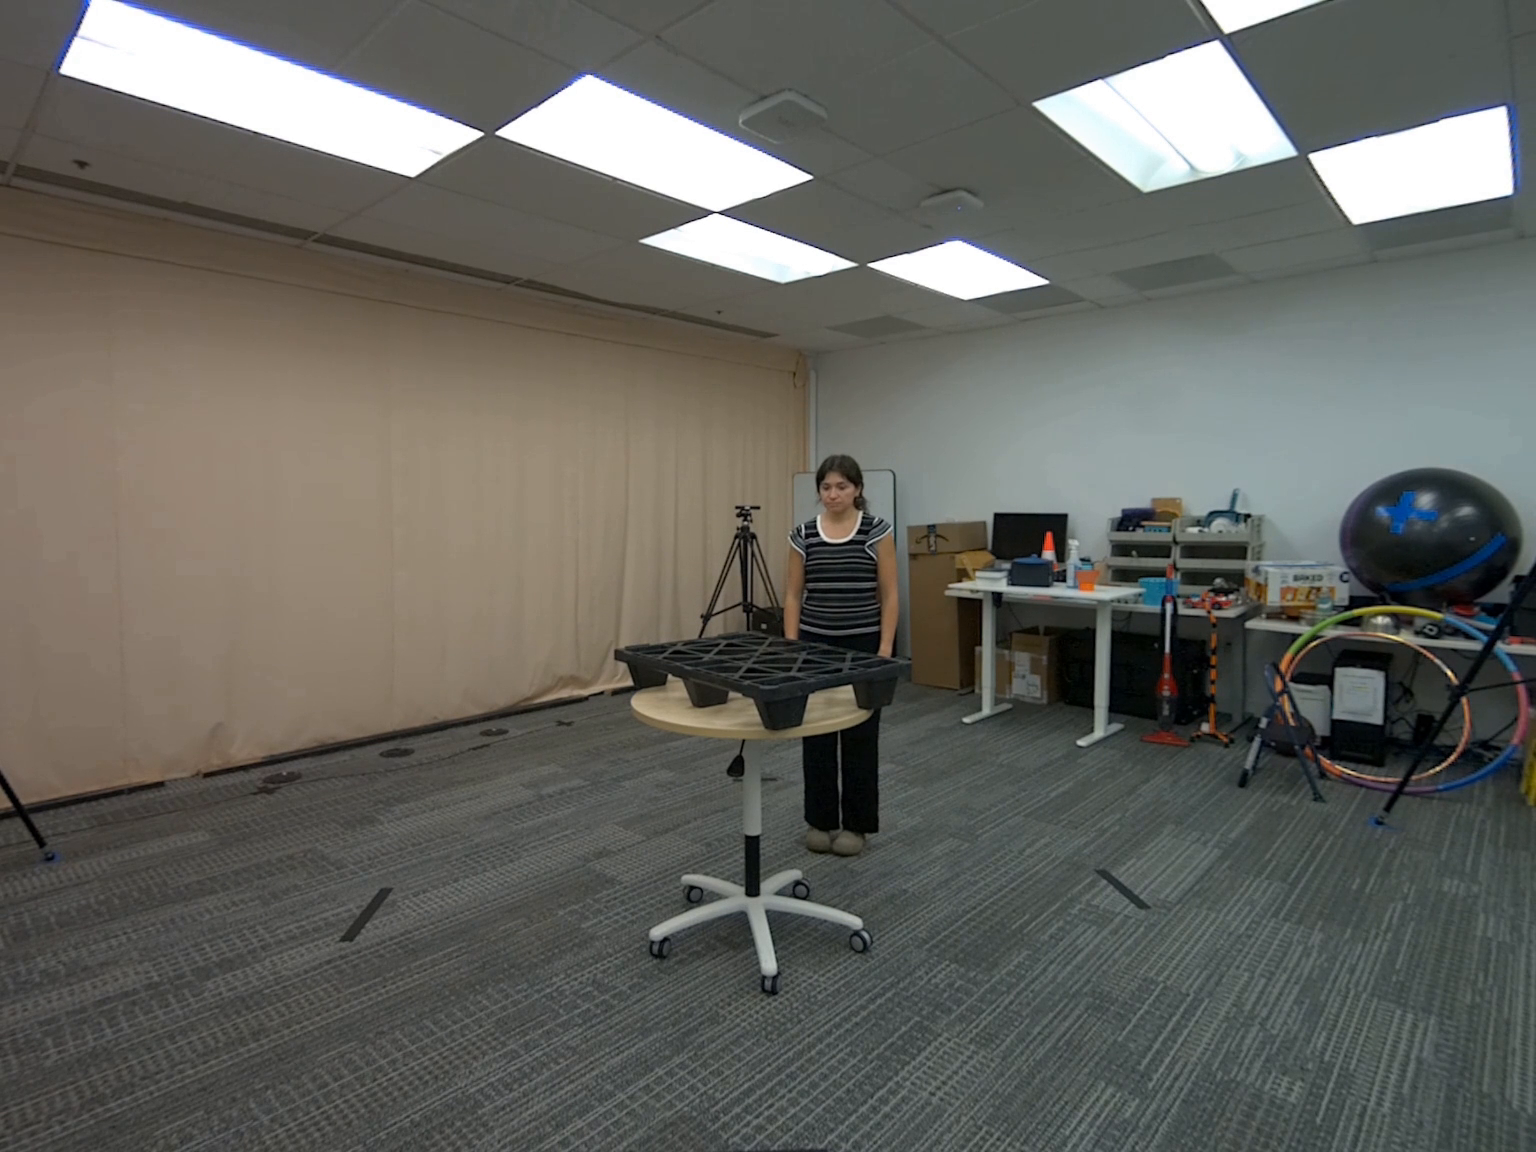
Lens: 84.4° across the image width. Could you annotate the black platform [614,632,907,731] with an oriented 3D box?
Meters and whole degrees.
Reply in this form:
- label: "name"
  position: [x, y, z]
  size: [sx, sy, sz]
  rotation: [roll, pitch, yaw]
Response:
- label: "black platform"
  position: [-0.035, 0.321, 2.696]
  size: [0.587, 0.143, 0.832]
  rotation: [-5, 6, -38]
